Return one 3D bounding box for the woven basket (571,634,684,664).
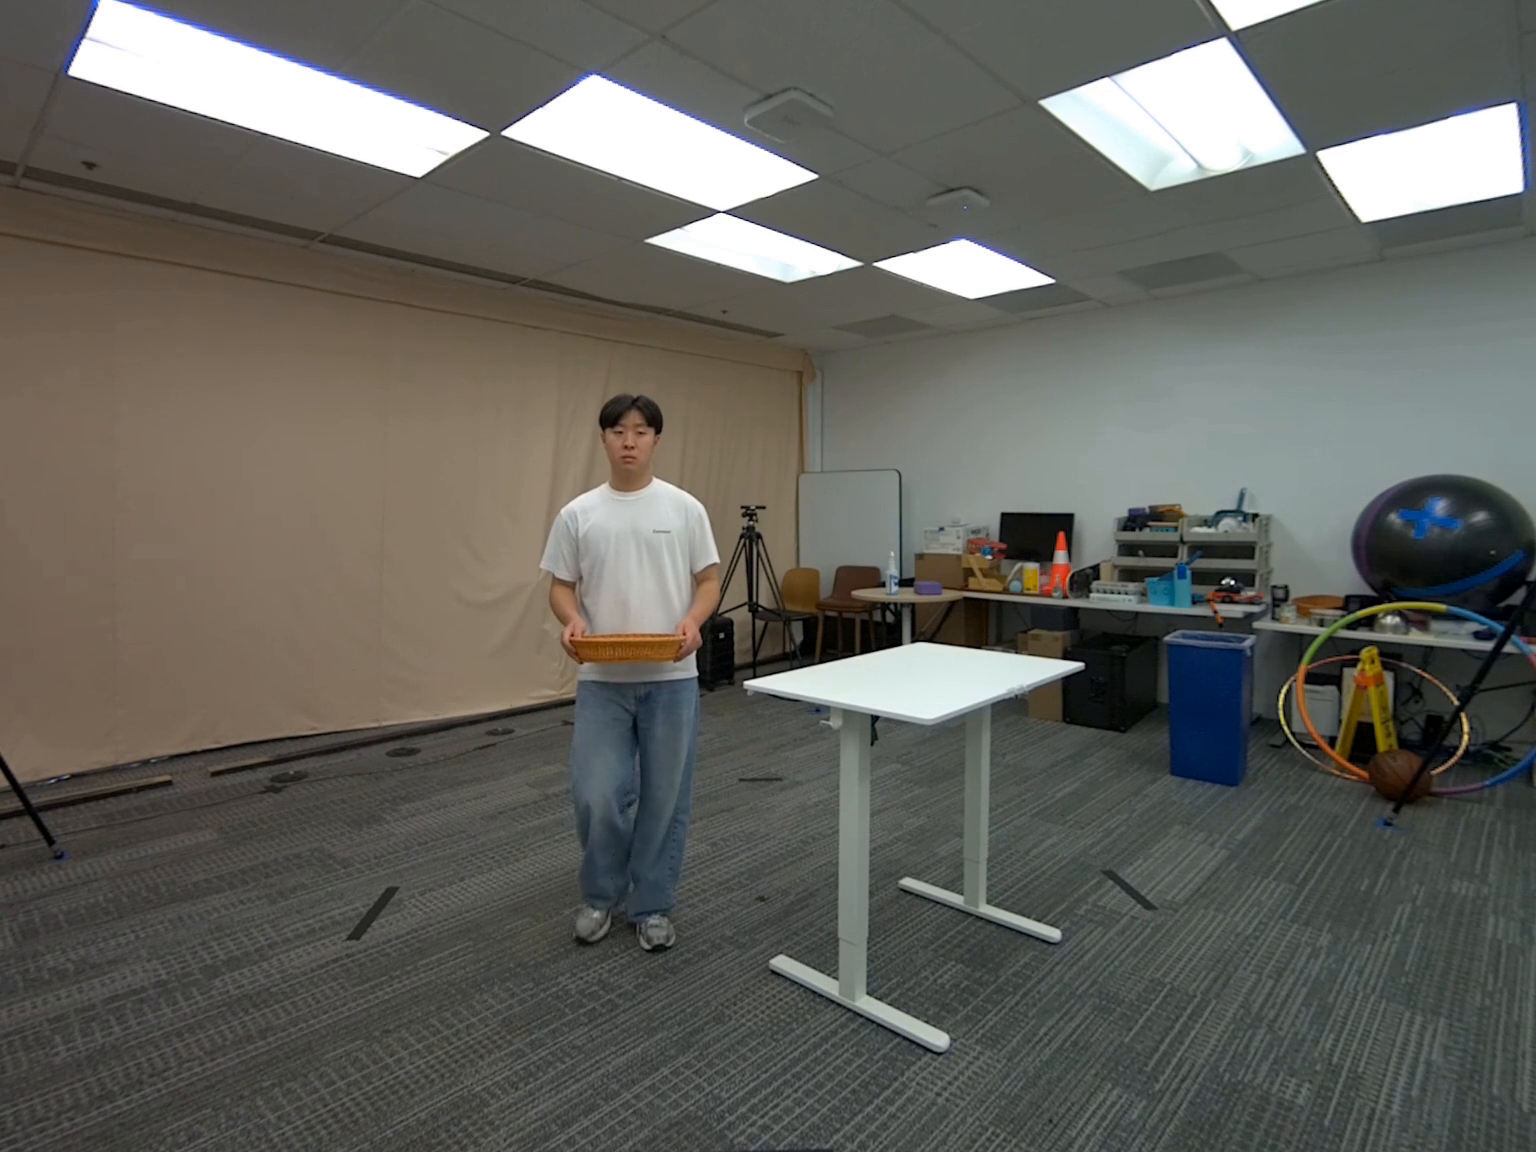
[{"bbox_3d":[-0.423,0.216,2.503,0.352,0.073,0.250,-1,-1,5],"label":"woven basket"}]
